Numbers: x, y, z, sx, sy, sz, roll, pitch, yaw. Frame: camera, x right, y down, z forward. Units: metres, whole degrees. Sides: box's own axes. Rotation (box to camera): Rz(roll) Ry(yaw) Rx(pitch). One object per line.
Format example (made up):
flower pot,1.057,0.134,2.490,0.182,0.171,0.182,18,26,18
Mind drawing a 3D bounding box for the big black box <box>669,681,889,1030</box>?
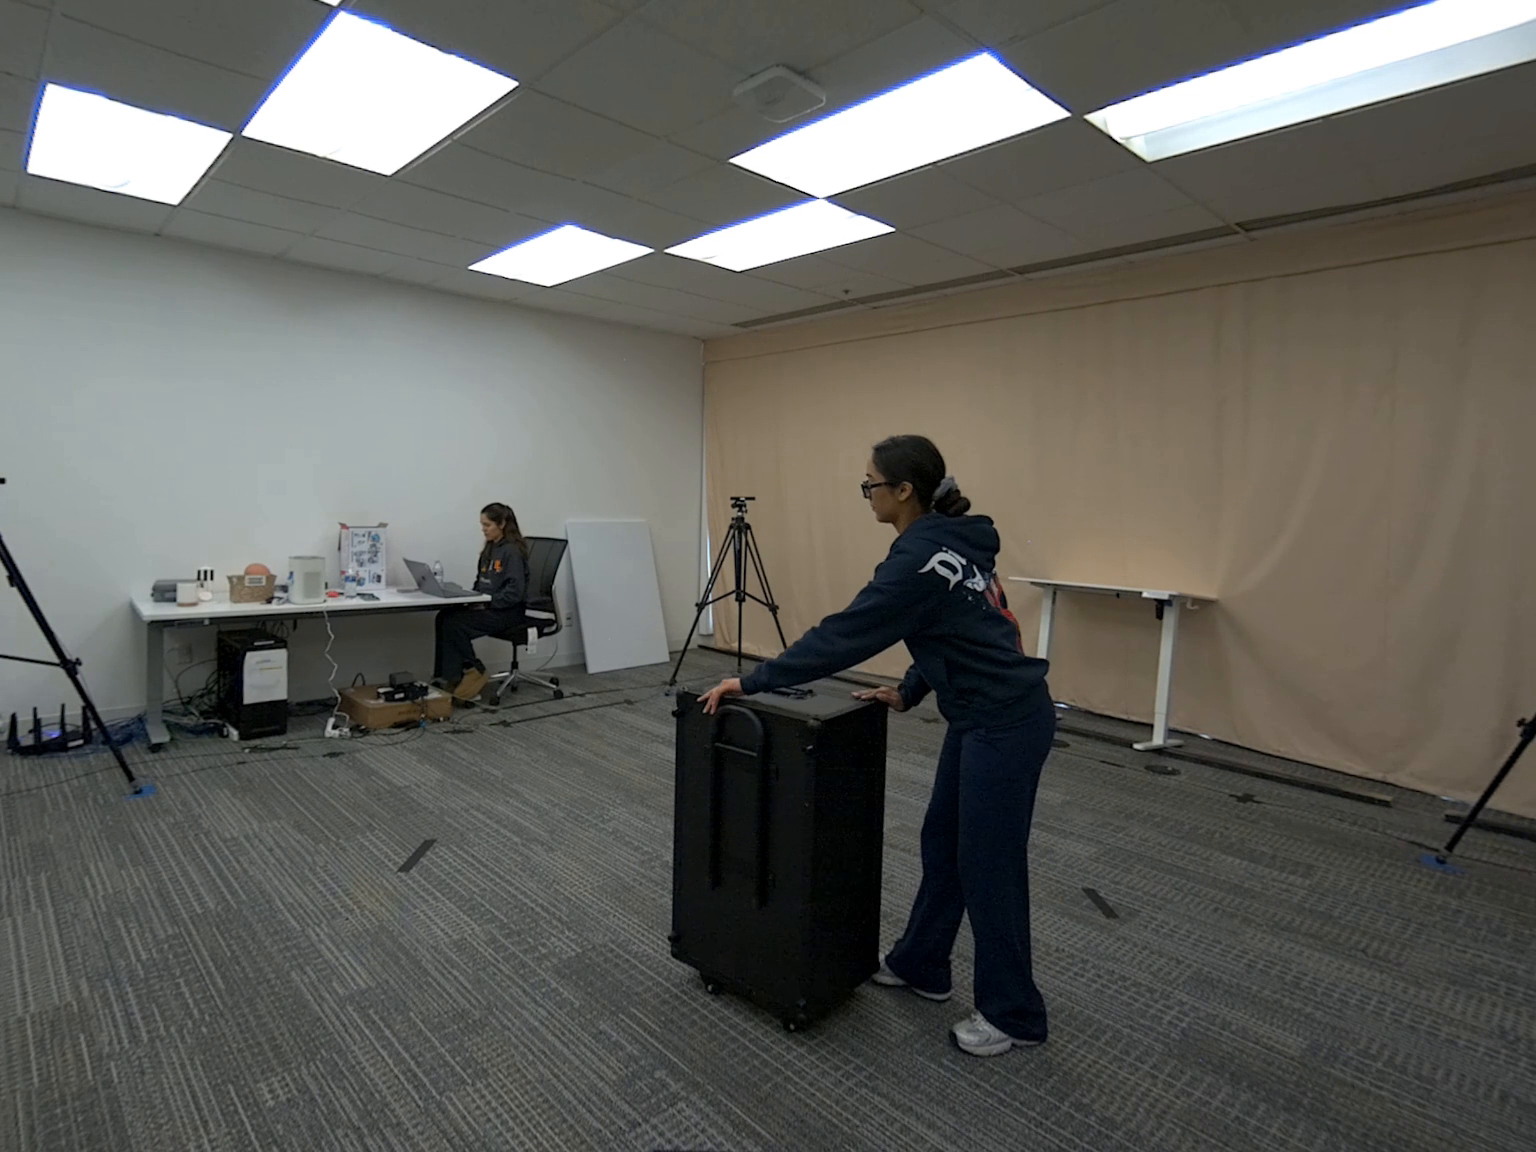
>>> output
big black box,0.022,0.756,2.369,0.534,0.859,0.387,5,5,40
